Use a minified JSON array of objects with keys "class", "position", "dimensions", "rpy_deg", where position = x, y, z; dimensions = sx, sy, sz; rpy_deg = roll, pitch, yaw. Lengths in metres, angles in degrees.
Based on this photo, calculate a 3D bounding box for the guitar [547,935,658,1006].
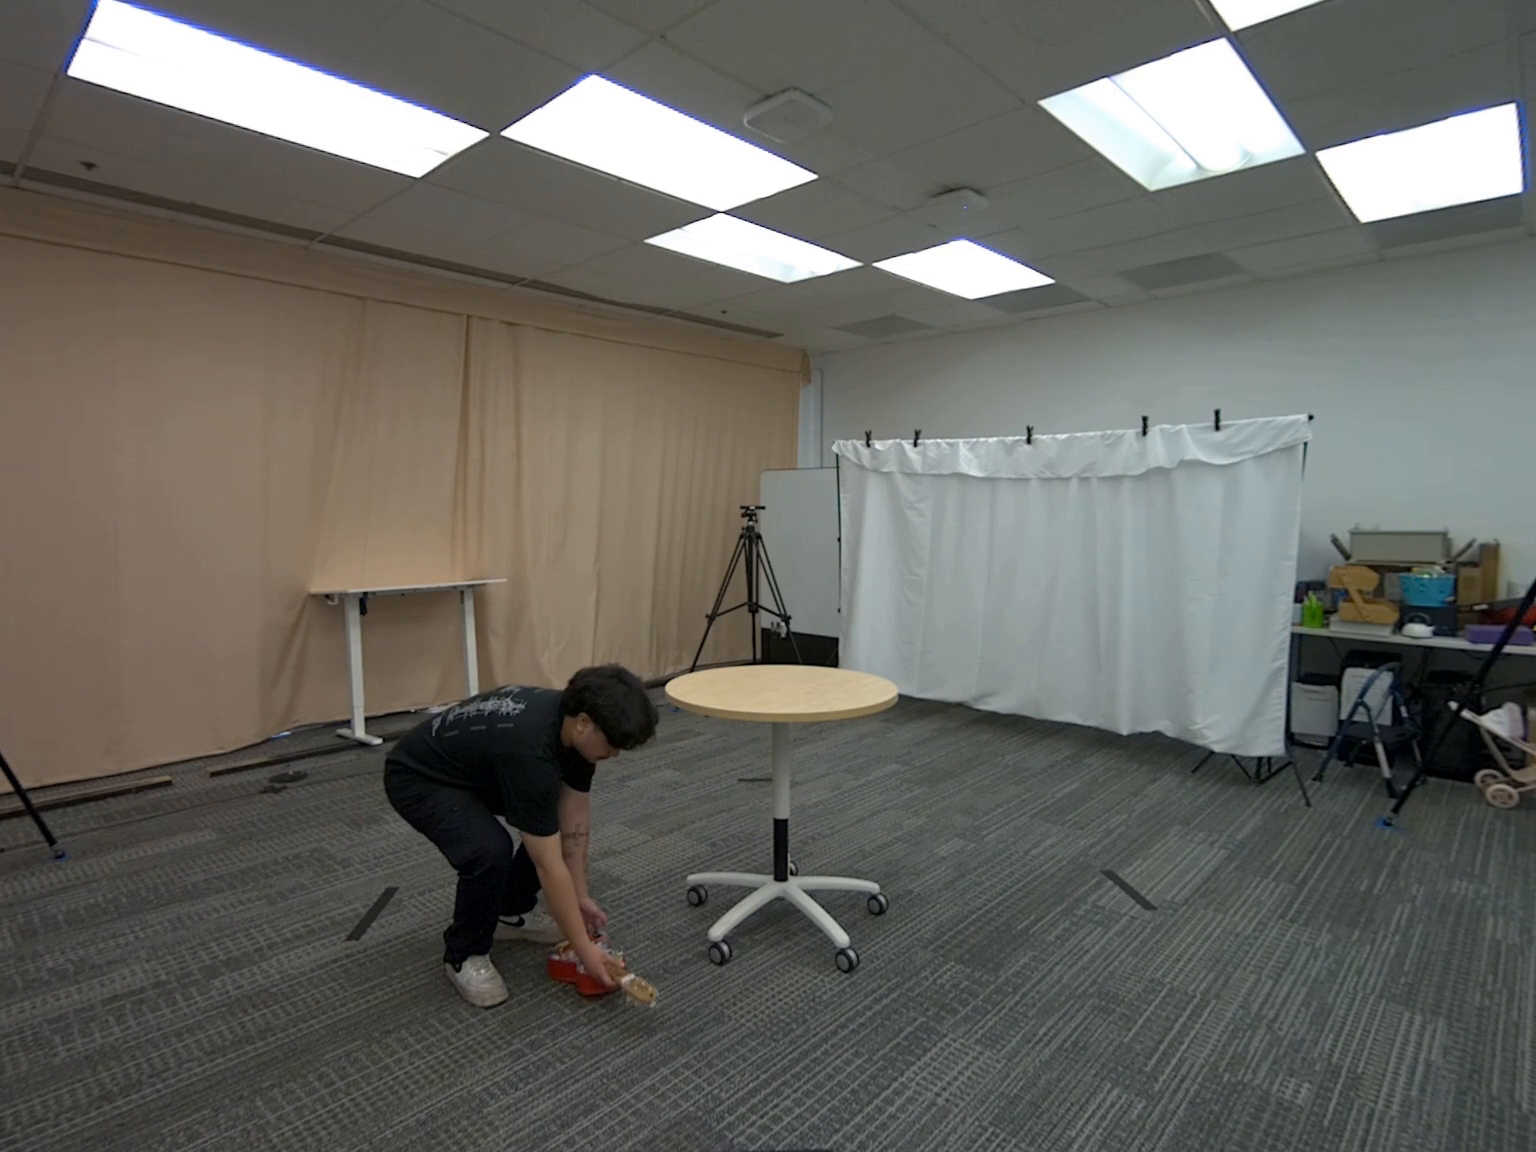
[{"class":"guitar","position":[-0.483,1.138,2.375],"dimensions":[0.188,0.070,0.510],"rpy_deg":[-8,3,-29]}]
